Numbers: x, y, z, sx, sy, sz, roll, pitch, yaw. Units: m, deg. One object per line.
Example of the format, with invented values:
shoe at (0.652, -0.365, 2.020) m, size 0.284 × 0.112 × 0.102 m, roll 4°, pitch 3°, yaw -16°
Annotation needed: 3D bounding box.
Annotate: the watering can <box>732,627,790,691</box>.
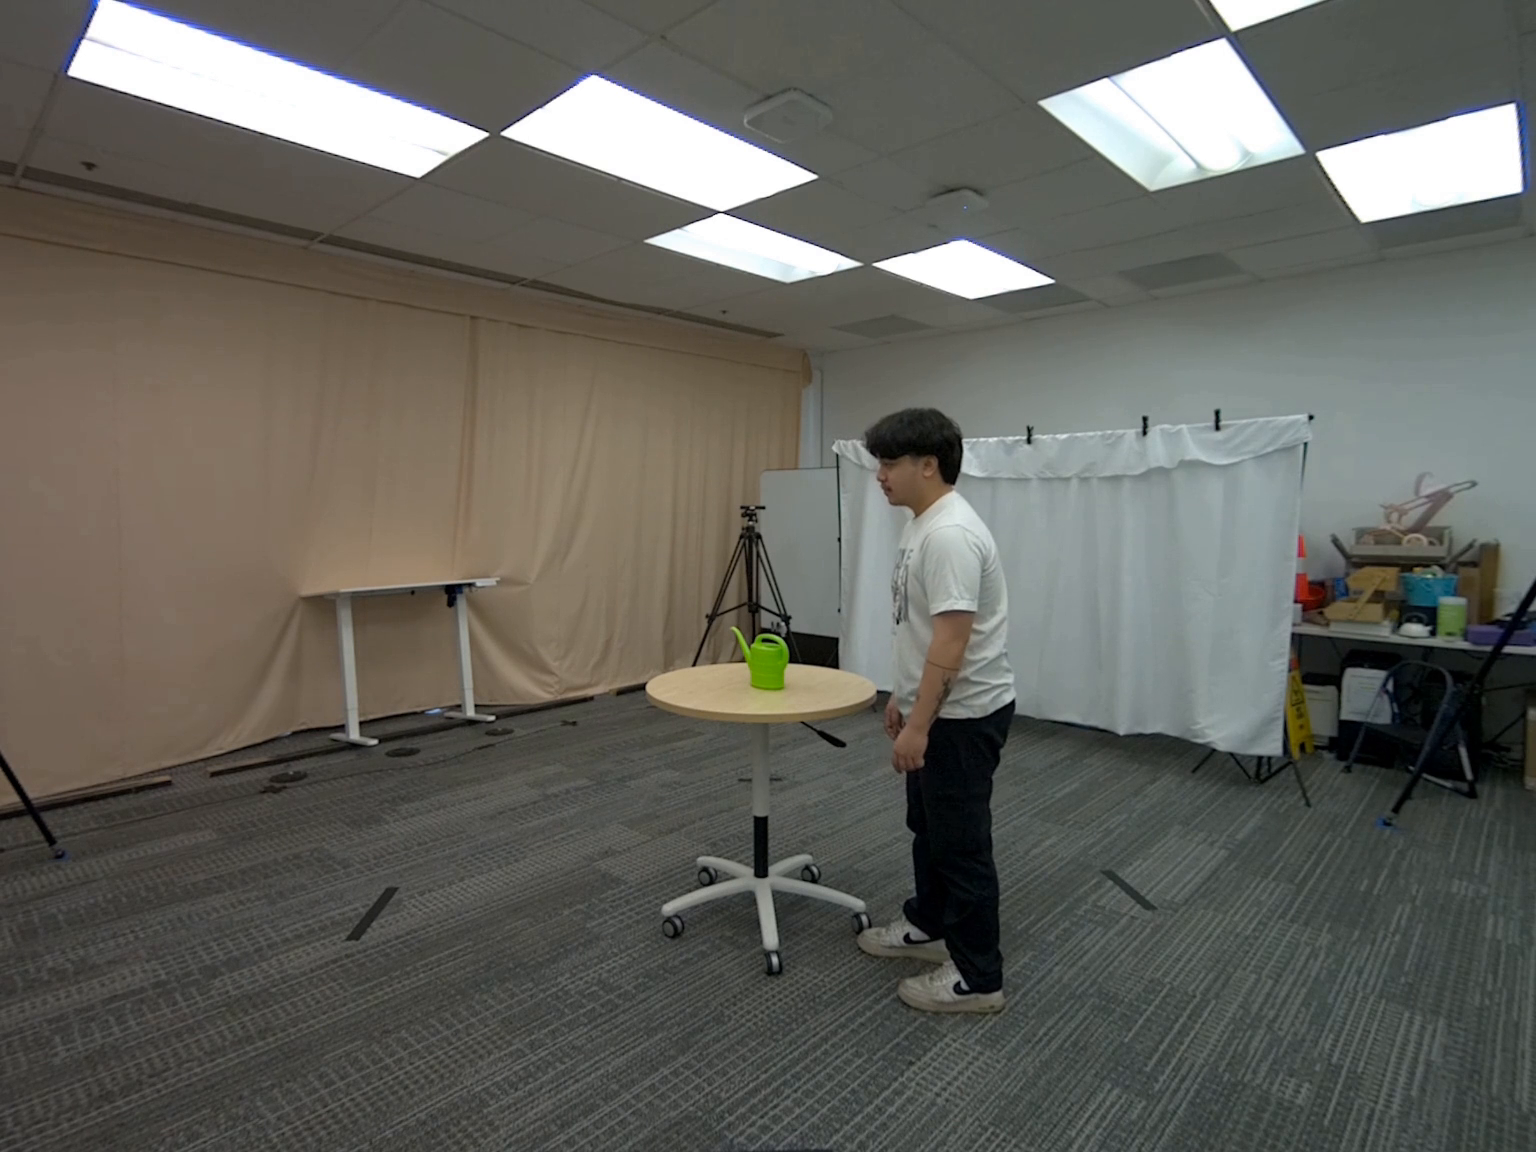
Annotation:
watering can at (-0.020, 0.277, 2.822) m, size 0.095 × 0.176 × 0.287 m, roll 0°, pitch 6°, yaw -31°
